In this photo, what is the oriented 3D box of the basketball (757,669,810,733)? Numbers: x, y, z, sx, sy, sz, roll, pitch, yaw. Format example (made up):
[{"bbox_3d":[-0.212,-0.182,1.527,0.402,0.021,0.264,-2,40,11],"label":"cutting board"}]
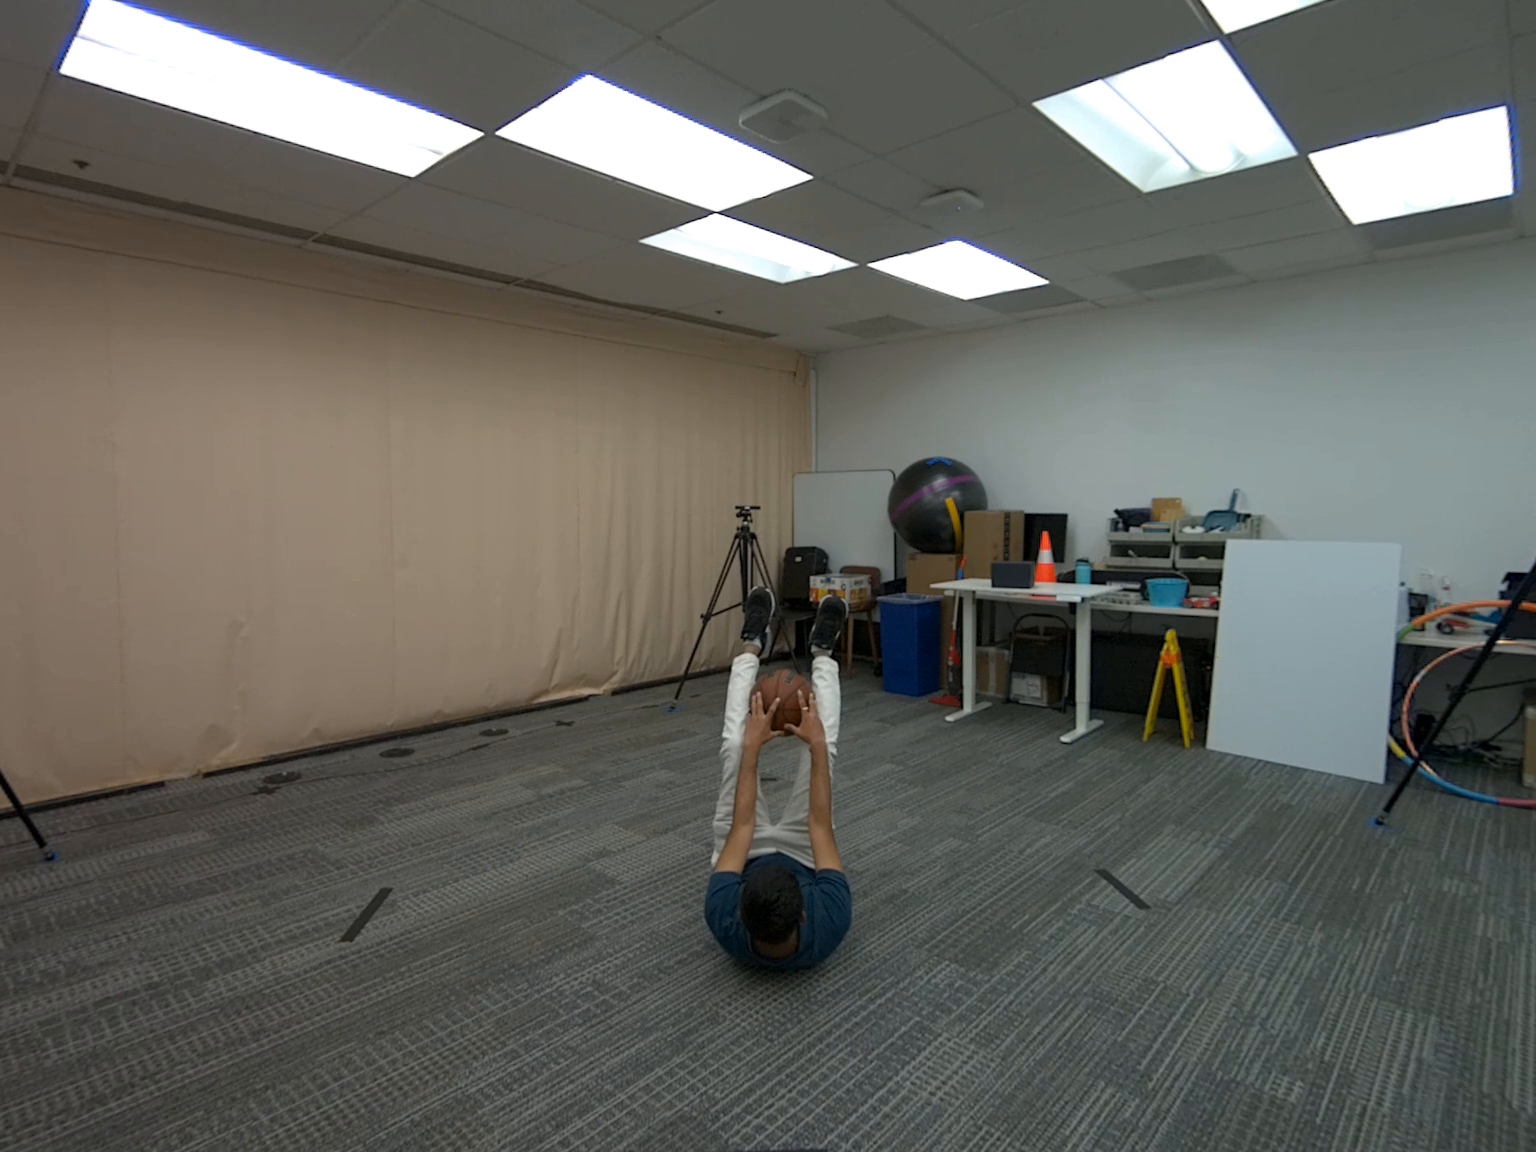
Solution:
[{"bbox_3d":[0.059,0.456,3.022,0.236,0.235,0.237,0,4,-2],"label":"basketball"}]
